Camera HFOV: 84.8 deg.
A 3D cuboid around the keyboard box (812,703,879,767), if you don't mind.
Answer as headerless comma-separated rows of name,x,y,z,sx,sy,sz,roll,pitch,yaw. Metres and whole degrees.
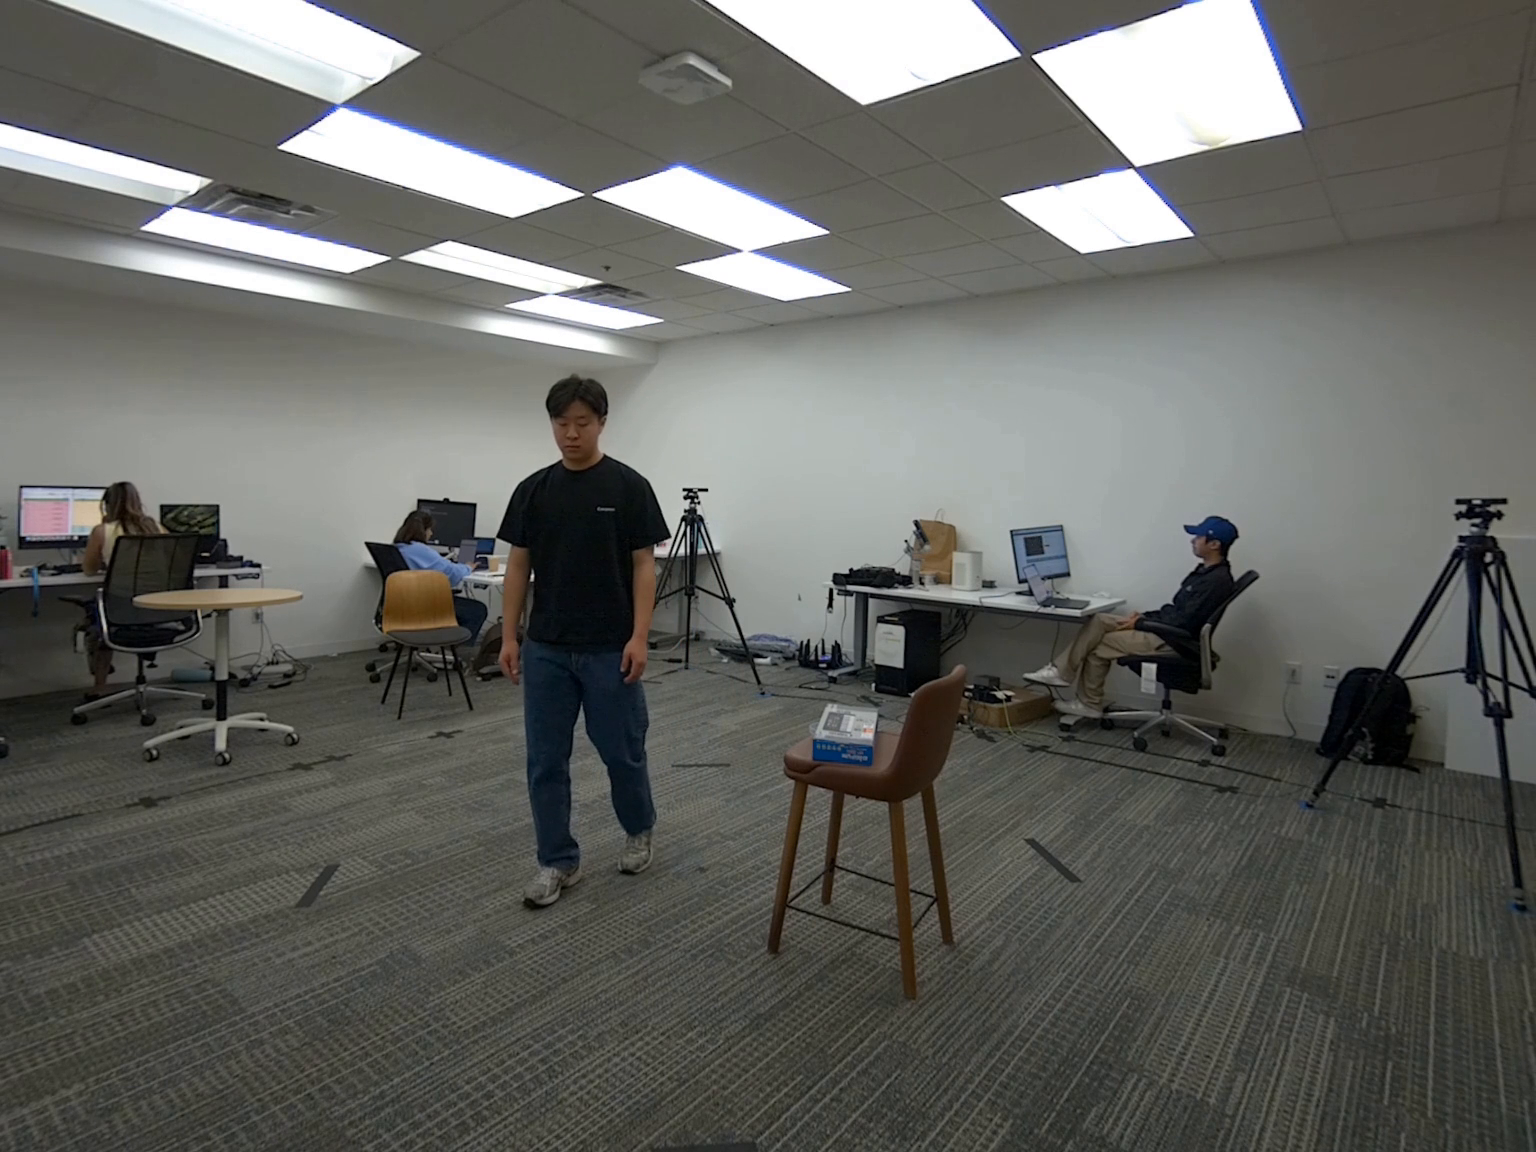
keyboard box,0.241,0.479,2.645,0.178,0.059,0.432,4,6,10
